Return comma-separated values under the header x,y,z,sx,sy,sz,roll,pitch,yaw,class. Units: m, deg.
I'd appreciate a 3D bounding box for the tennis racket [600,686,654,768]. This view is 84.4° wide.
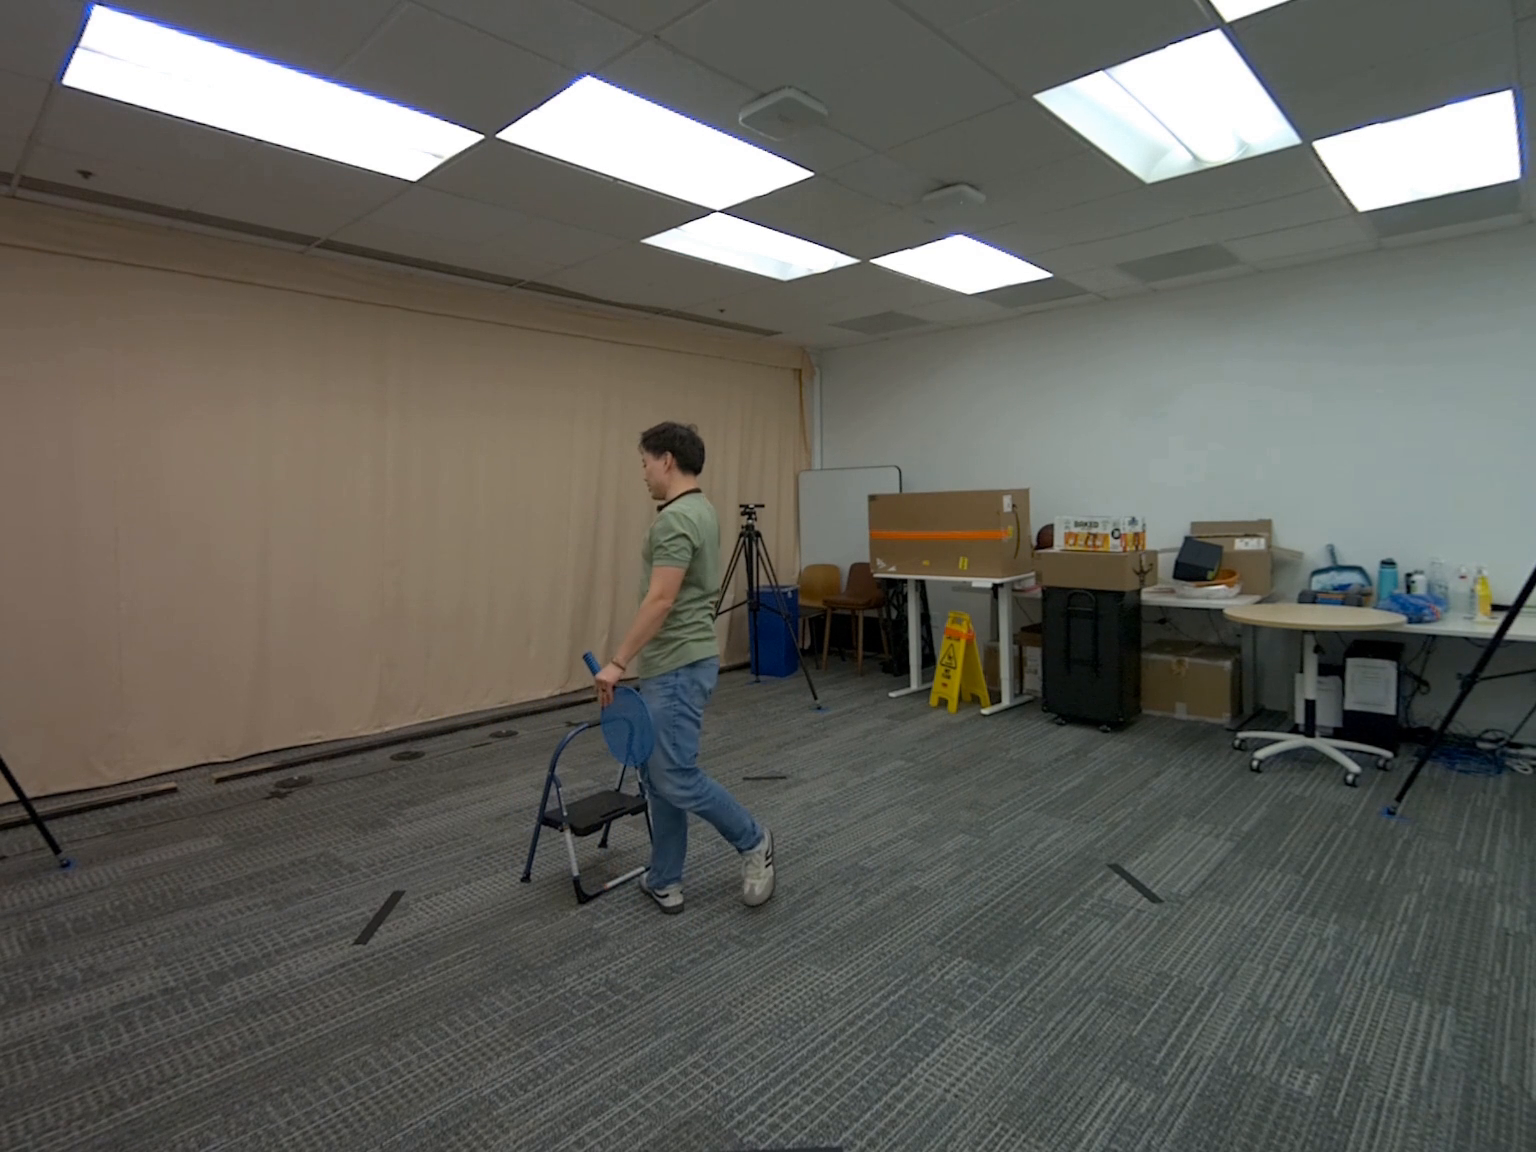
x,y,z,sx,sy,sz,roll,pitch,yaw,class
-0.479,0.409,2.686,0.031,0.214,0.447,6,37,-46,tennis racket
